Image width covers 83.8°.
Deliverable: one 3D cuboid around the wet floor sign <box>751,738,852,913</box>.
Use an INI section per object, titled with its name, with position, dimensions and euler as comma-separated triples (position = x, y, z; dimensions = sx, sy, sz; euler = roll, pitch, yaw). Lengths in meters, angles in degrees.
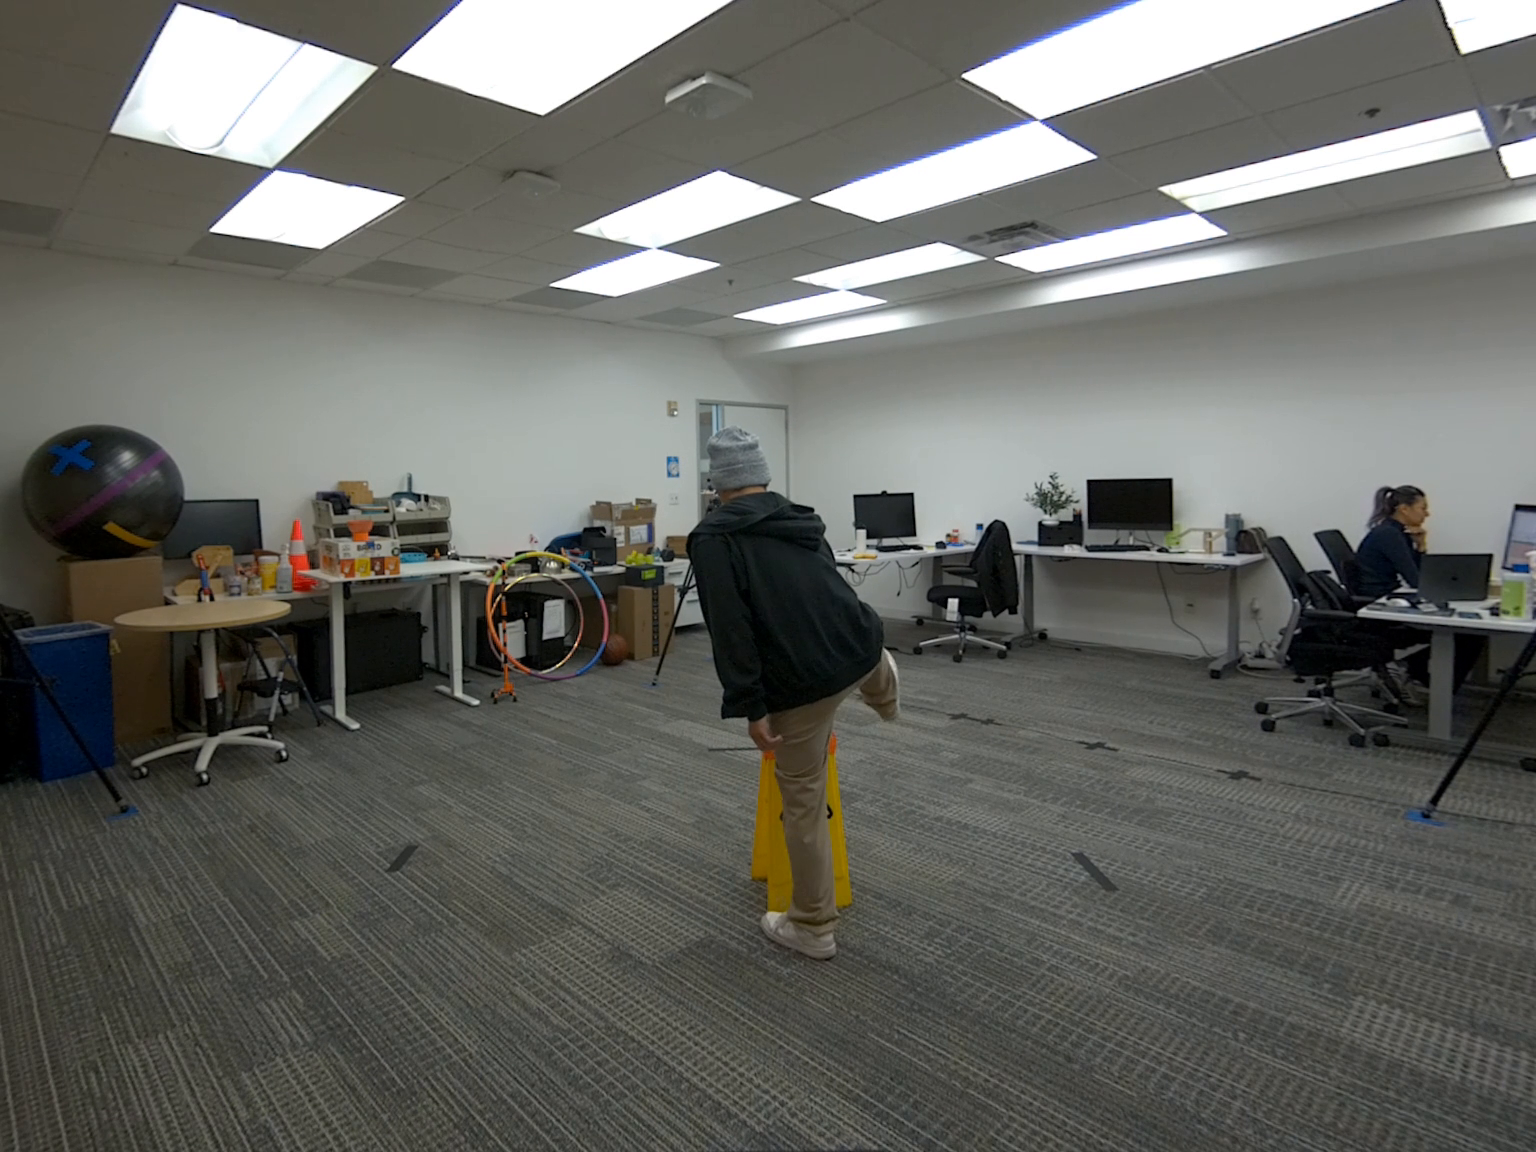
[wet floor sign]
position = 0.108, 0.742, 2.863
dimensions = 0.279, 0.643, 0.294
euler = -3, 5, -12
